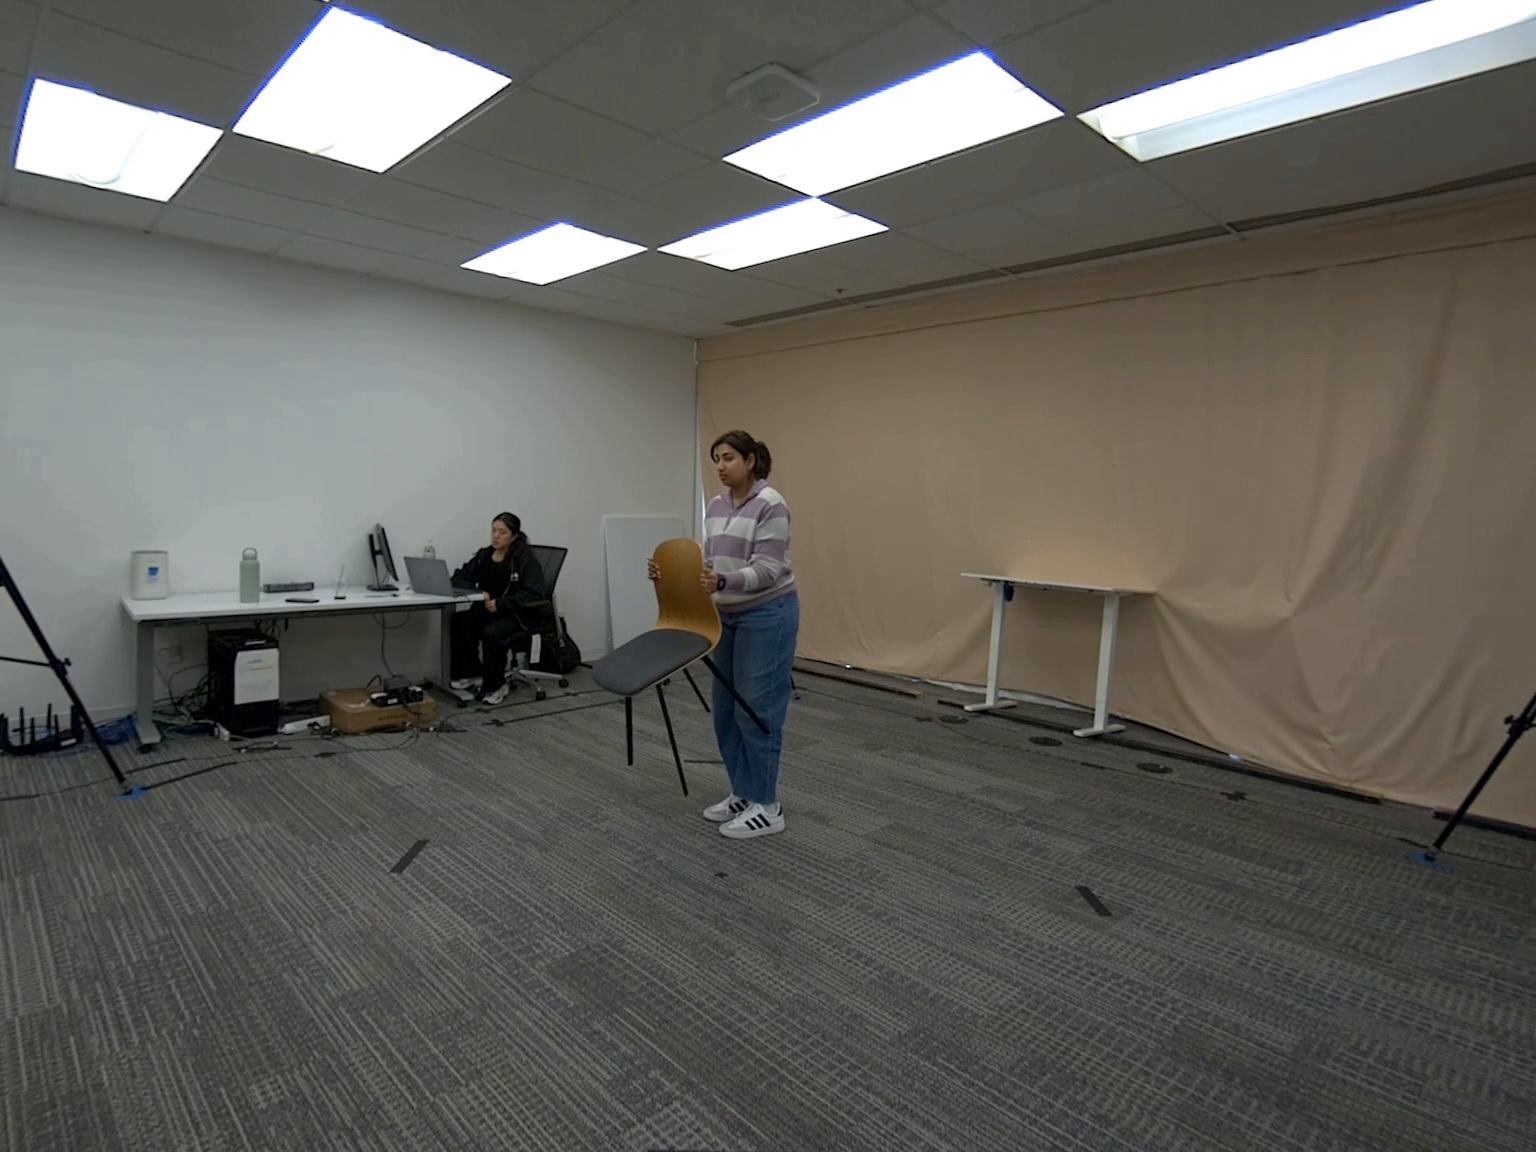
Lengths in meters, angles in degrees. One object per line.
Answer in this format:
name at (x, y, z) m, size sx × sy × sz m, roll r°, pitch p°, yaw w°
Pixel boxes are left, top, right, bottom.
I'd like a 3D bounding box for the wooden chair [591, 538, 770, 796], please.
wooden chair at (-0.424, 0.349, 3.385) m, size 0.517 × 0.866 × 0.490 m, roll -24°, pitch 18°, yaw -33°
